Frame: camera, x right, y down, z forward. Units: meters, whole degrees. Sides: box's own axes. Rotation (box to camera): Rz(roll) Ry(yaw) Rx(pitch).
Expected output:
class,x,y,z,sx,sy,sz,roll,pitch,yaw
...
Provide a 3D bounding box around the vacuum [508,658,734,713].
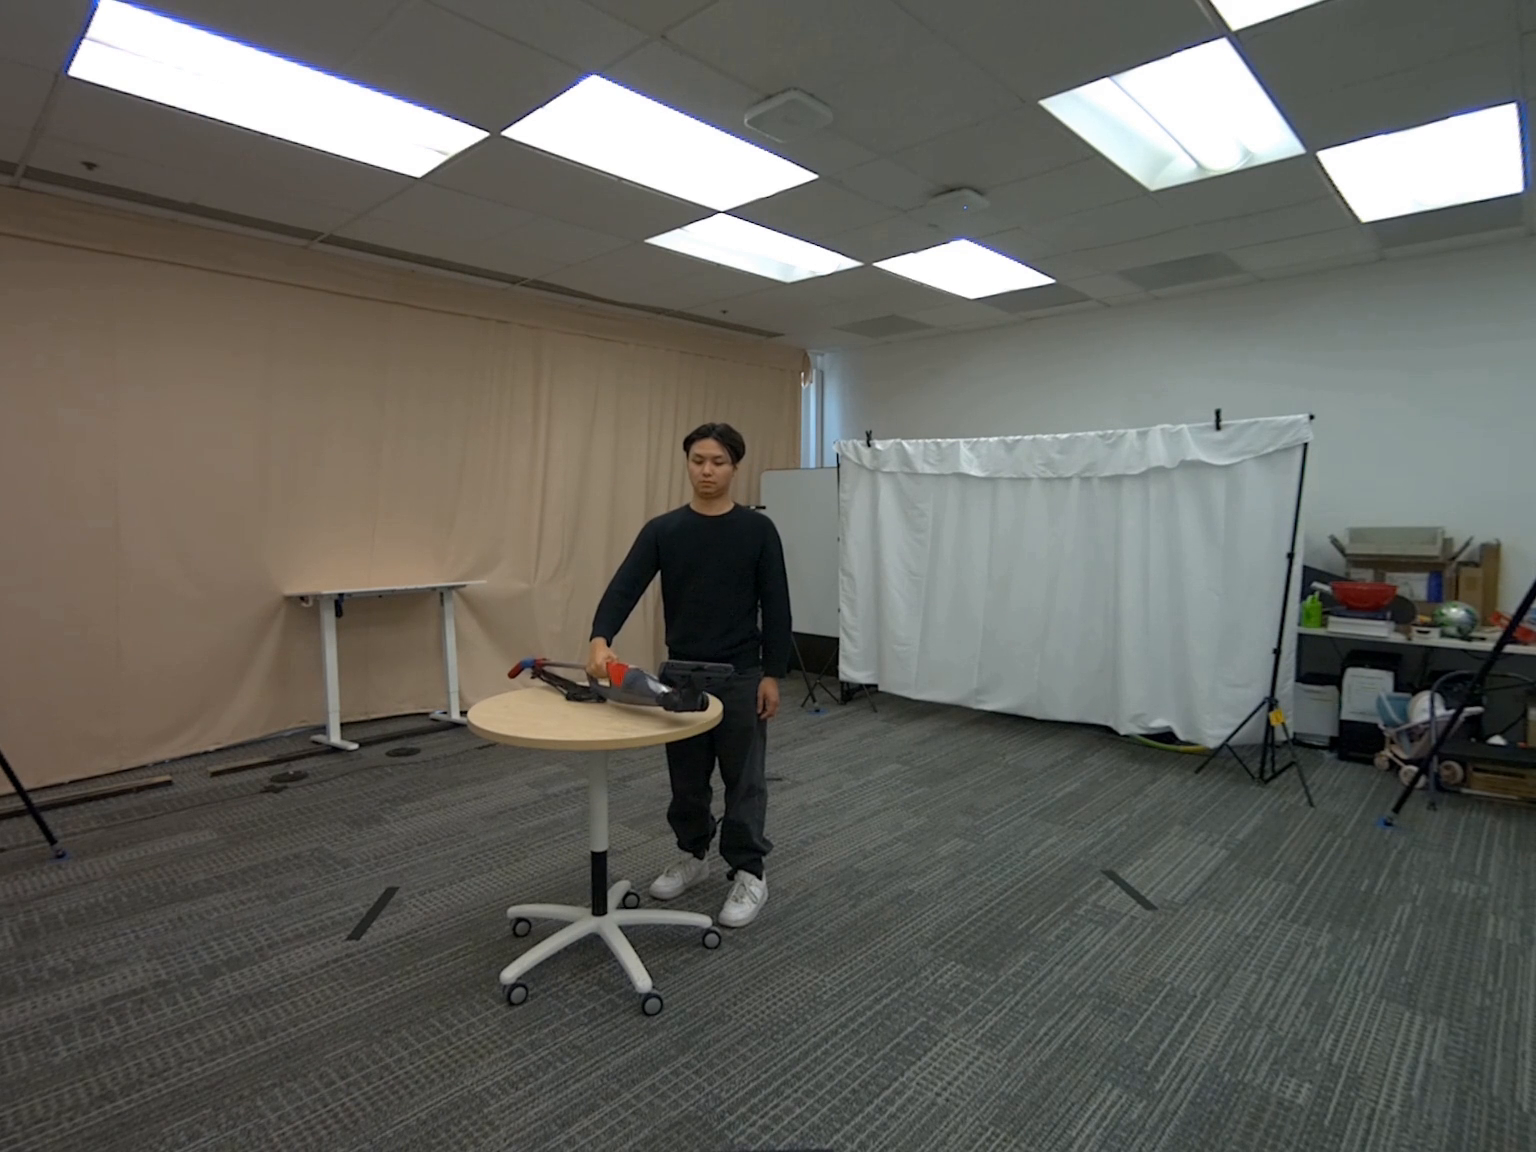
class,x,y,z,sx,sy,sz,roll,pitch,yaw
vacuum,-0.578,0.338,2.687,0.244,0.145,1.082,14,-12,-42
